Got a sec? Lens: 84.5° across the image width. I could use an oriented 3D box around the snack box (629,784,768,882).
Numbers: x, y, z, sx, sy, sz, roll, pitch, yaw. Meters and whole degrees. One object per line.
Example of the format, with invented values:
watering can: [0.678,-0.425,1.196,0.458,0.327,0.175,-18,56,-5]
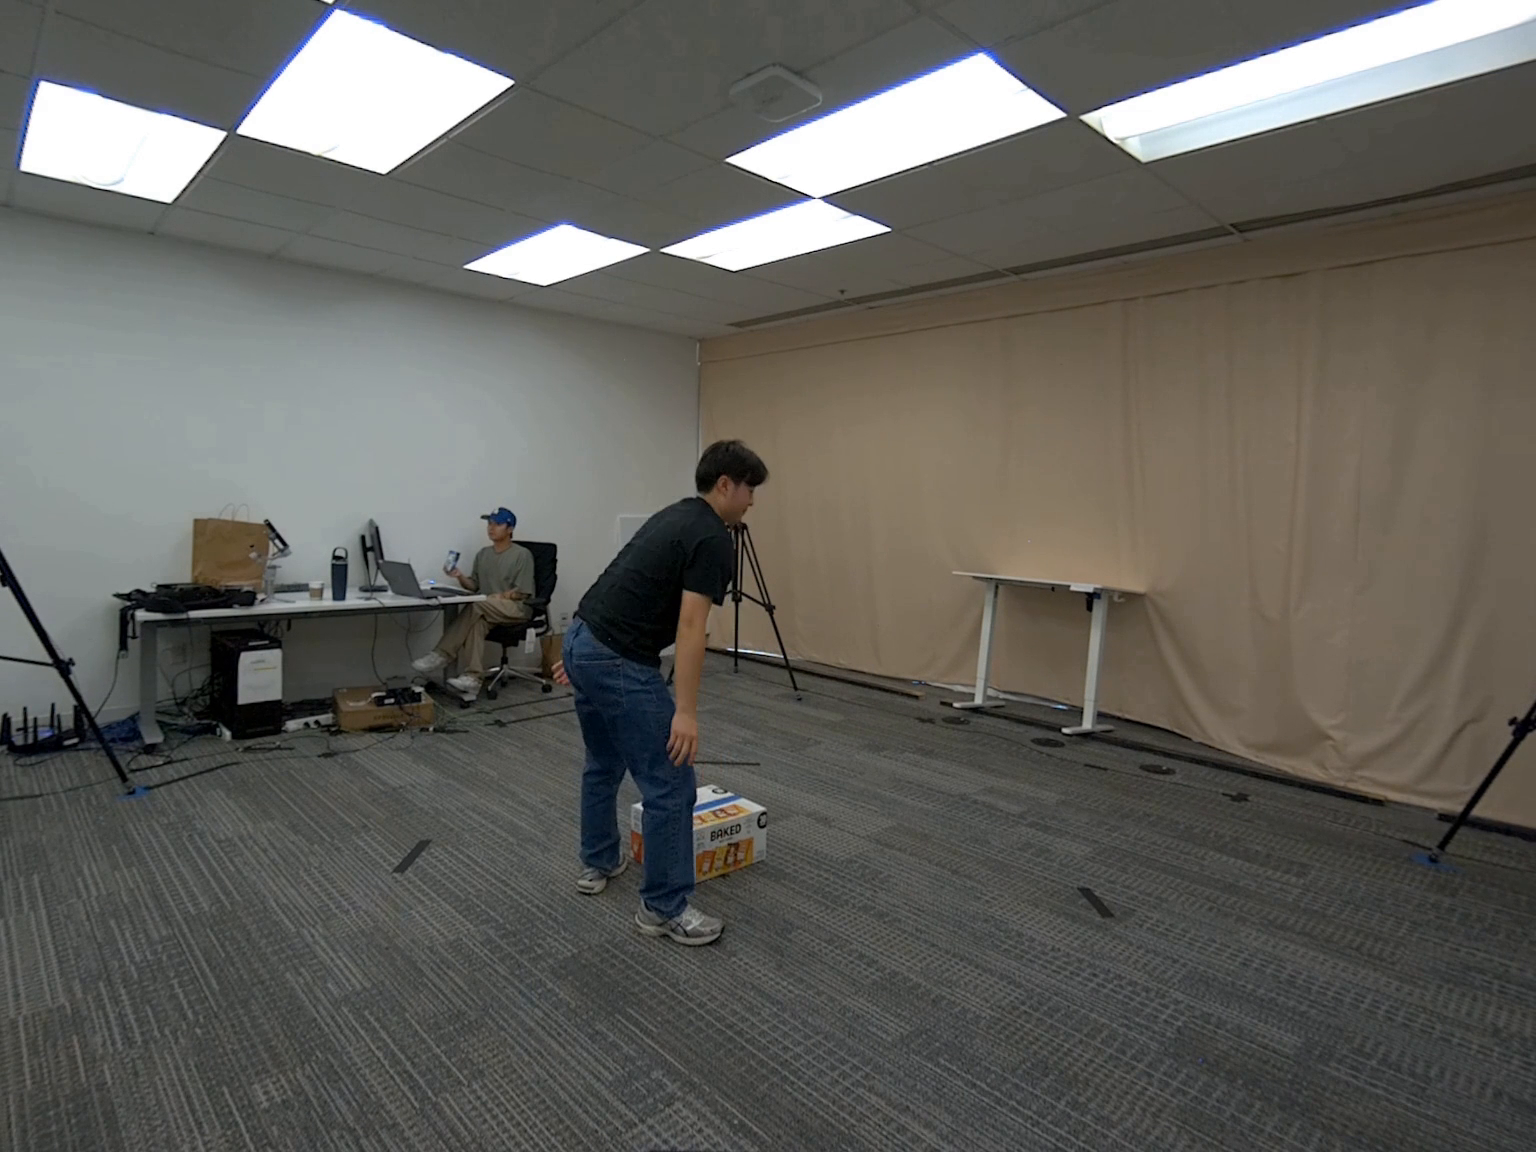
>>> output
snack box: [-0.271,0.992,3.238,0.396,0.205,0.349,-2,6,-41]
